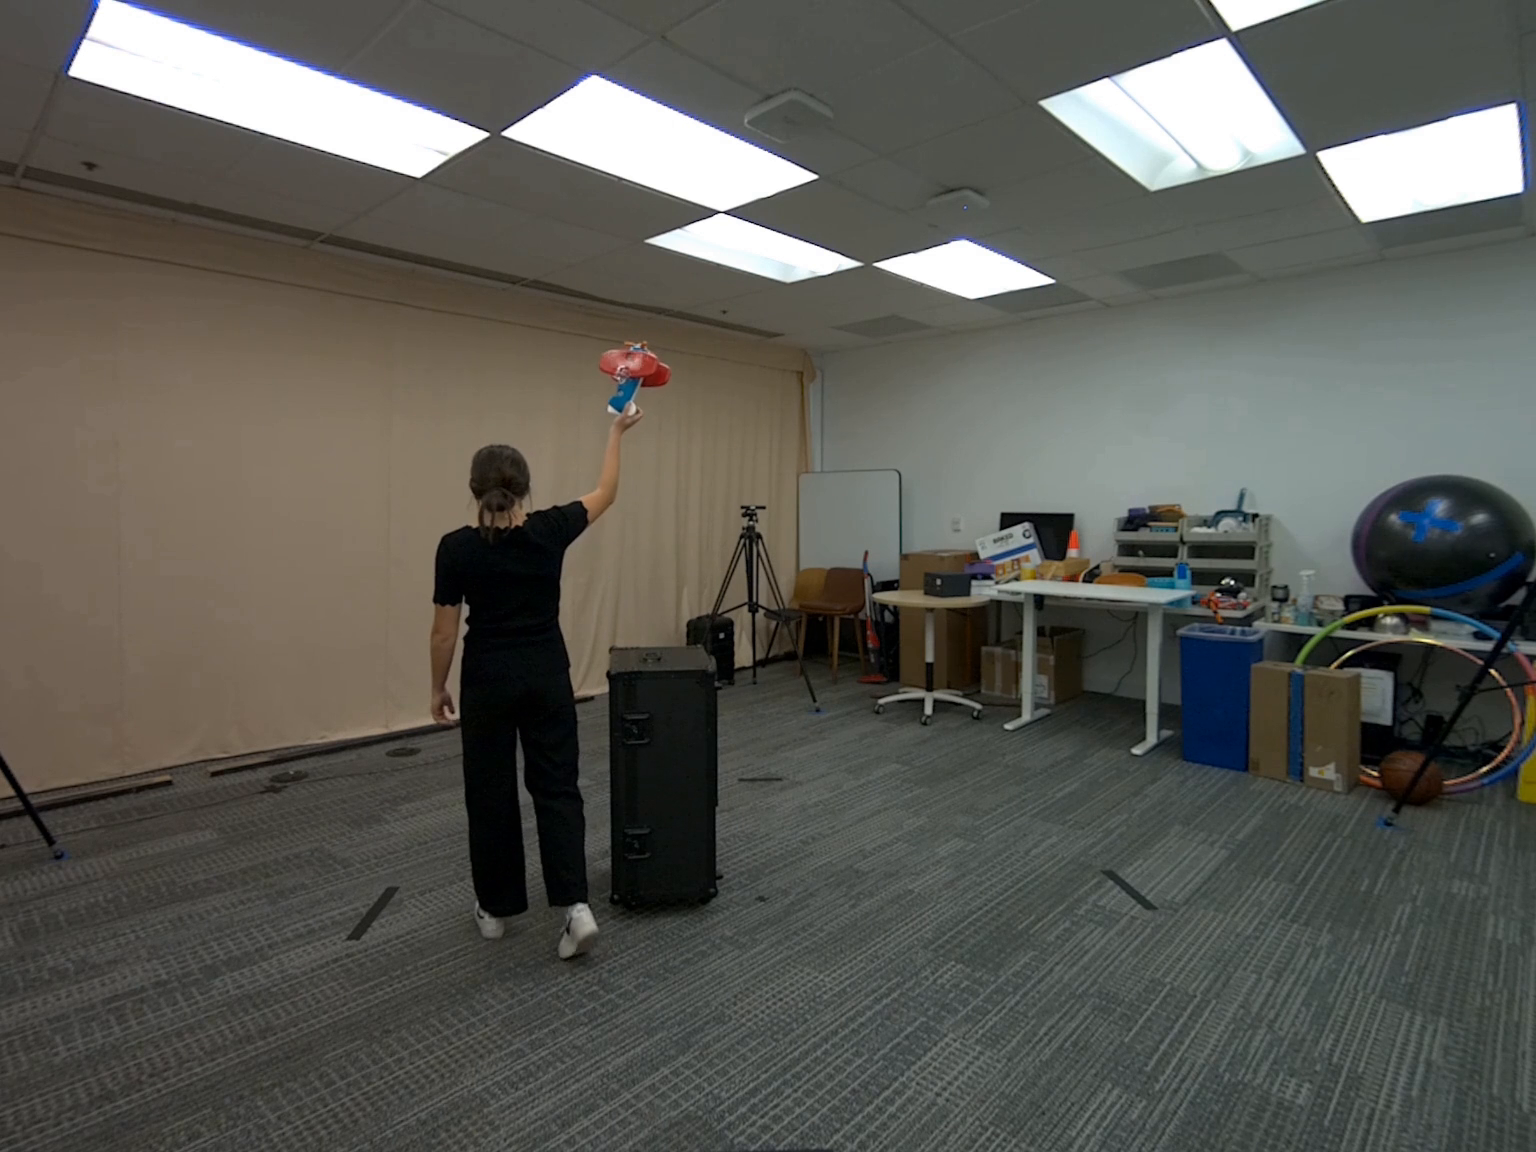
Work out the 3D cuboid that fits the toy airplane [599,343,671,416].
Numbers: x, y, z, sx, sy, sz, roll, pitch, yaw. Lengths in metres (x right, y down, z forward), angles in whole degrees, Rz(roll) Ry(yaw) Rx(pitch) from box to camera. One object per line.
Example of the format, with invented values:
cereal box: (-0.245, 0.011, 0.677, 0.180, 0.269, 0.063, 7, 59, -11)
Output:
toy airplane: (-0.448, -0.681, 2.945, 0.255, 0.264, 0.151, -14, -33, 18)
